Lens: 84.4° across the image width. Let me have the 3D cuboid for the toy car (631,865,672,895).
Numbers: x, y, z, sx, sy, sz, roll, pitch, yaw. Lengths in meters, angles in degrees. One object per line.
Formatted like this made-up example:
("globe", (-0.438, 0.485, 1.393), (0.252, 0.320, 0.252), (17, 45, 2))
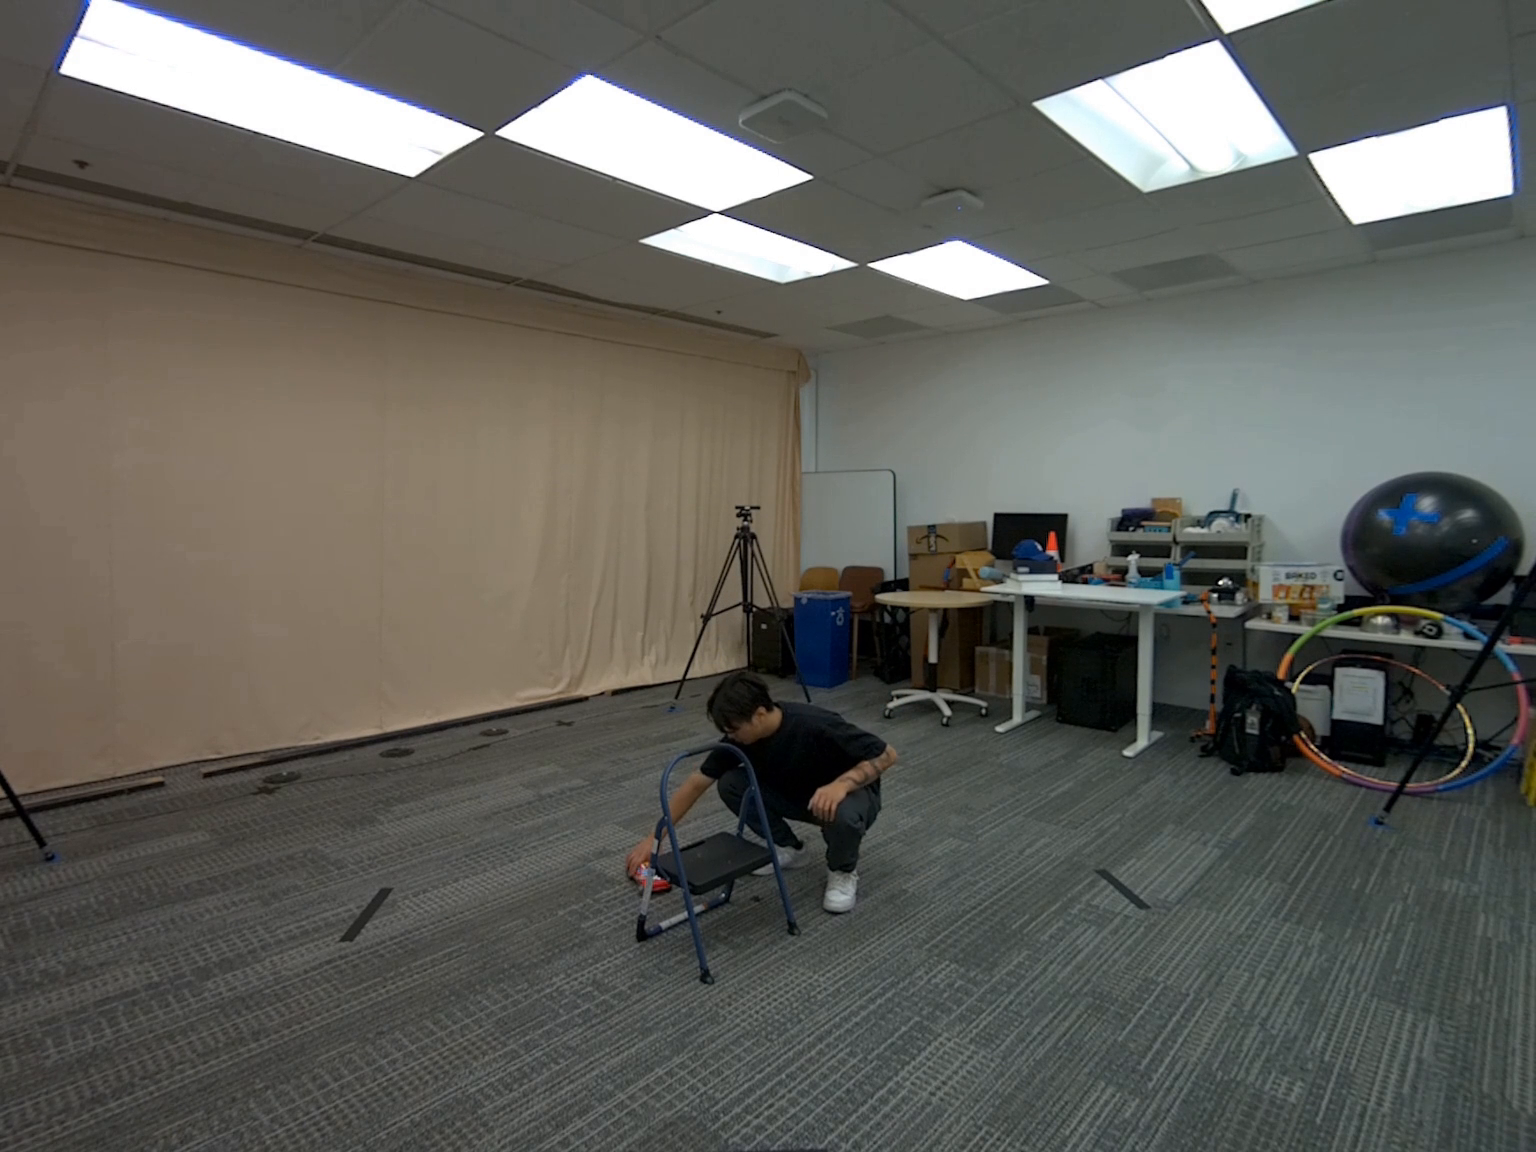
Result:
("toy car", (-0.447, 1.106, 3.135), (0.127, 0.082, 0.262), (-4, 16, -24))
